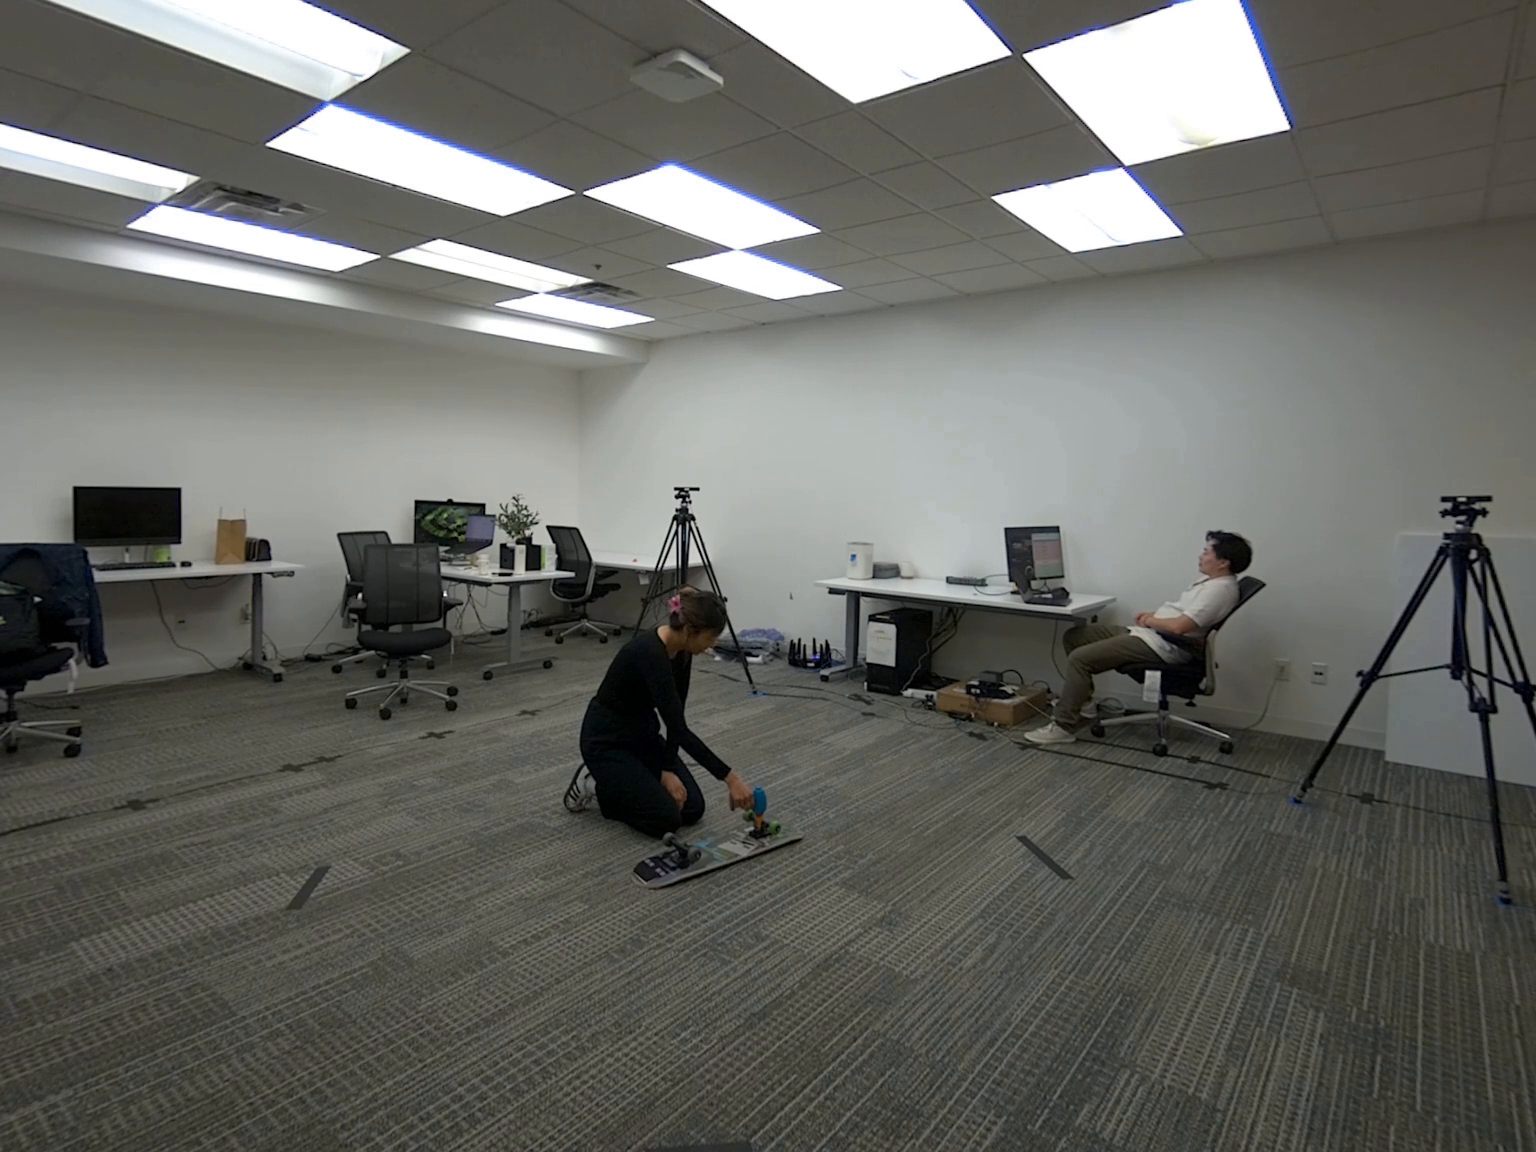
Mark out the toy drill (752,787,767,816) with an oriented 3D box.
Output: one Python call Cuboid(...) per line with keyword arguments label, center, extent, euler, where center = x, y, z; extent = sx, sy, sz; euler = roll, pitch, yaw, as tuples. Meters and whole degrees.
Cuboid(label="toy drill", center=(-0.084, 0.891, 3.275), extent=(0.145, 0.168, 0.062), euler=(-2, 8, -7))
